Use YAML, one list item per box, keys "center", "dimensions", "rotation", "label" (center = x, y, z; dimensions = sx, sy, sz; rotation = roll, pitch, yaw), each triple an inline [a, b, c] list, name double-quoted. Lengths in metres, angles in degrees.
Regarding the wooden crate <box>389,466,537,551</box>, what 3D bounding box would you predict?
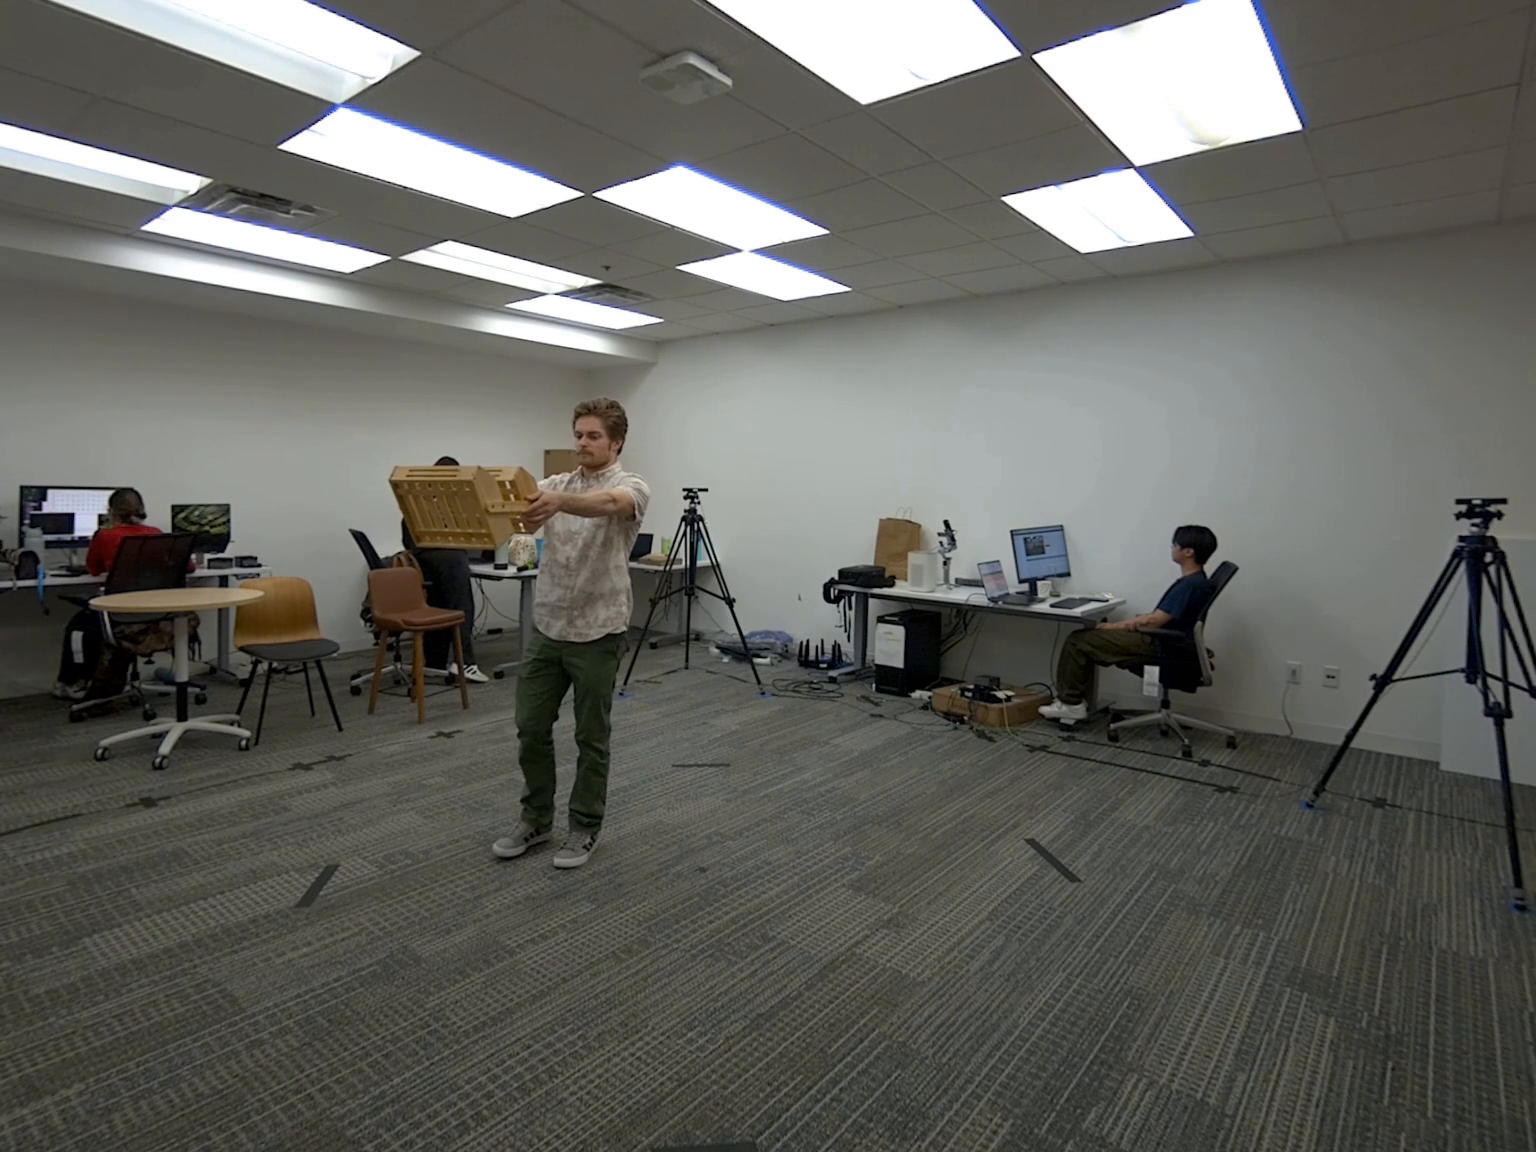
- center: [-0.908, -0.242, 2.556]
  dimensions: [0.332, 0.293, 0.275]
  rotation: [3, 33, 20]
  label: "wooden crate"
